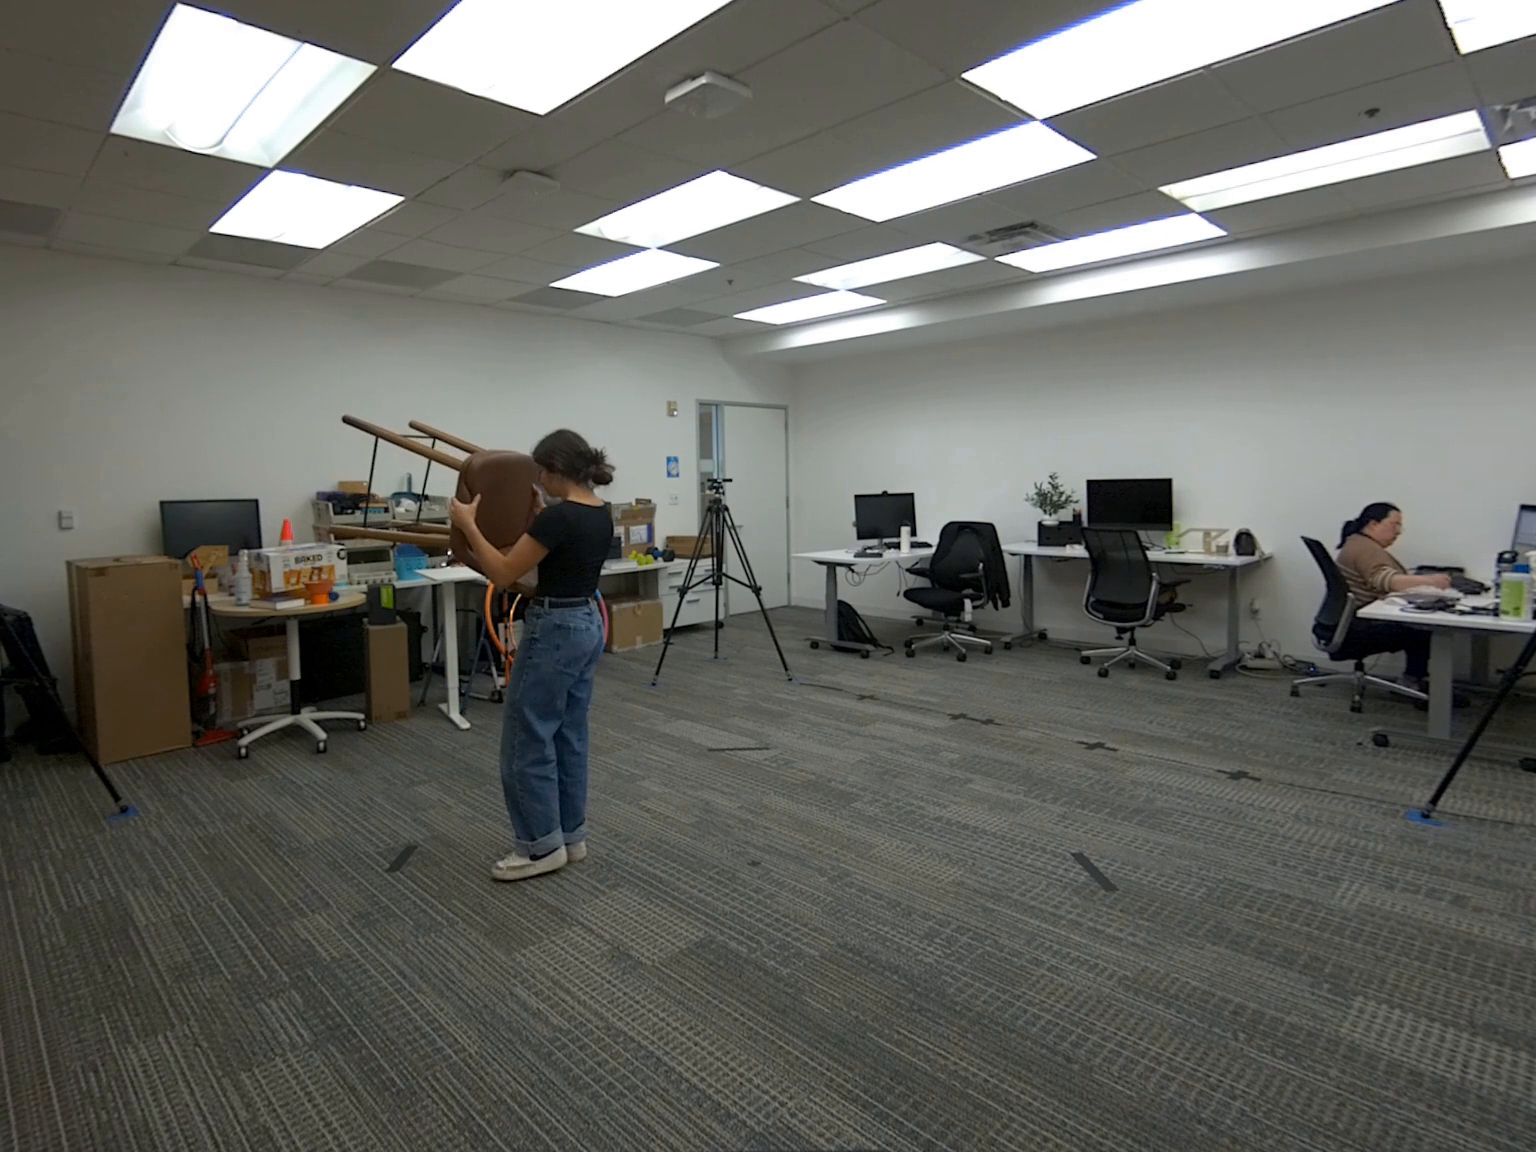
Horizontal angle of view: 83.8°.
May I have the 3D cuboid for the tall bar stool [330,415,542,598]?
[{"bbox_3d":[-1.153,-0.274,3.220,0.907,0.465,0.450,18,9,15],"label":"tall bar stool"}]
